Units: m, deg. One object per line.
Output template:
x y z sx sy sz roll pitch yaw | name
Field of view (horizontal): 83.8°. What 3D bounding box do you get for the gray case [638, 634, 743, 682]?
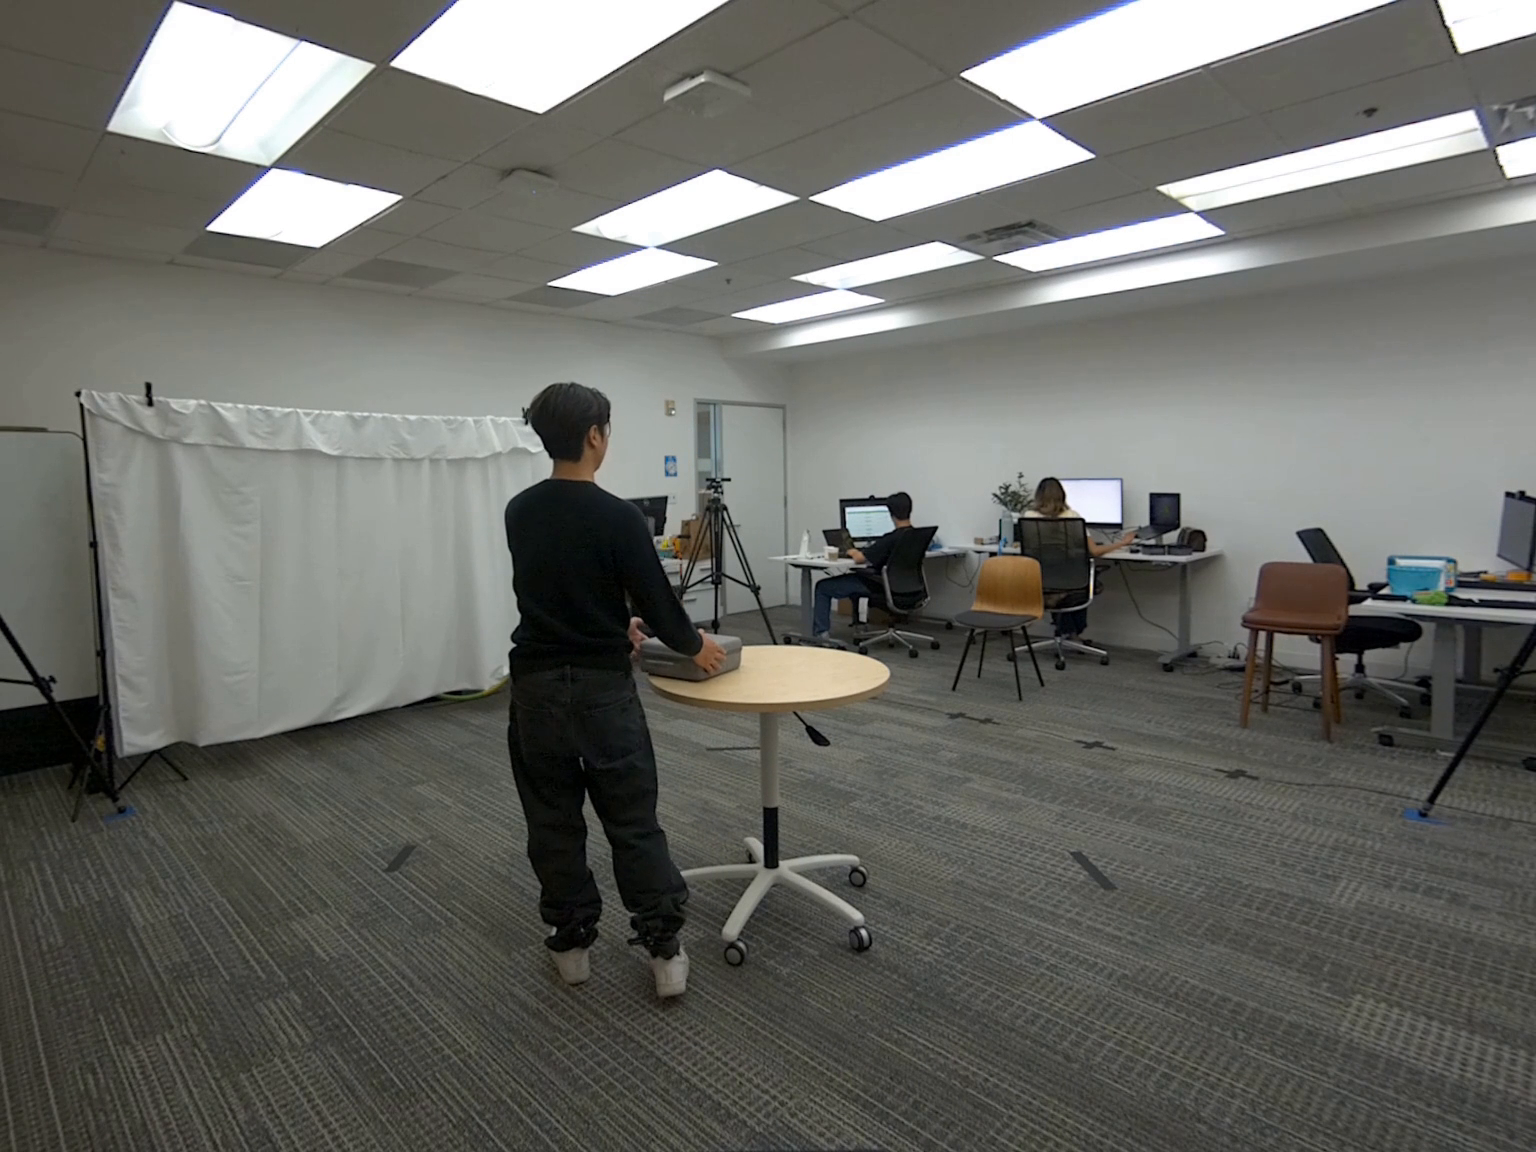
-0.222 0.255 2.730 0.264 0.104 0.255 5 8 32 | gray case
